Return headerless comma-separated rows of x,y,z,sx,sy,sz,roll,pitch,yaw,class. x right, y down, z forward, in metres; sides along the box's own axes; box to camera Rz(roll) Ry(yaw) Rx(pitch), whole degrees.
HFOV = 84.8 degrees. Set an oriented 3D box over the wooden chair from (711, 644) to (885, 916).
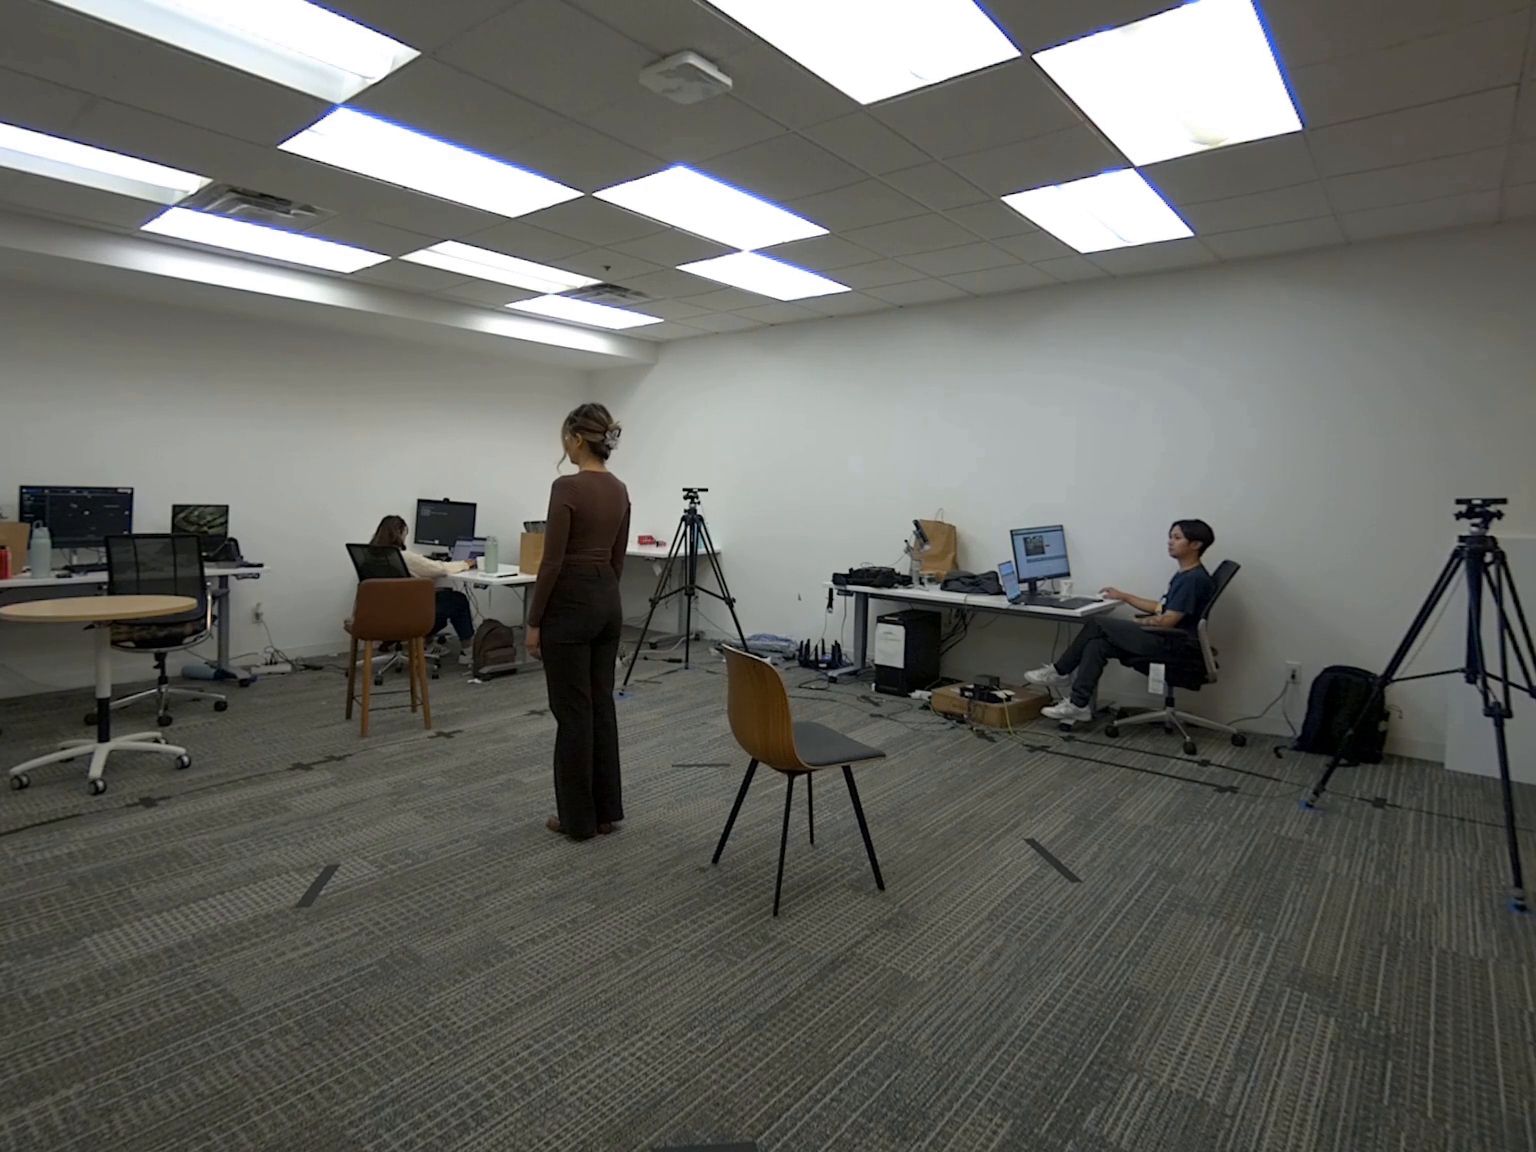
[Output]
0.109,0.656,3.044,0.510,0.873,0.492,-5,6,-30,wooden chair
